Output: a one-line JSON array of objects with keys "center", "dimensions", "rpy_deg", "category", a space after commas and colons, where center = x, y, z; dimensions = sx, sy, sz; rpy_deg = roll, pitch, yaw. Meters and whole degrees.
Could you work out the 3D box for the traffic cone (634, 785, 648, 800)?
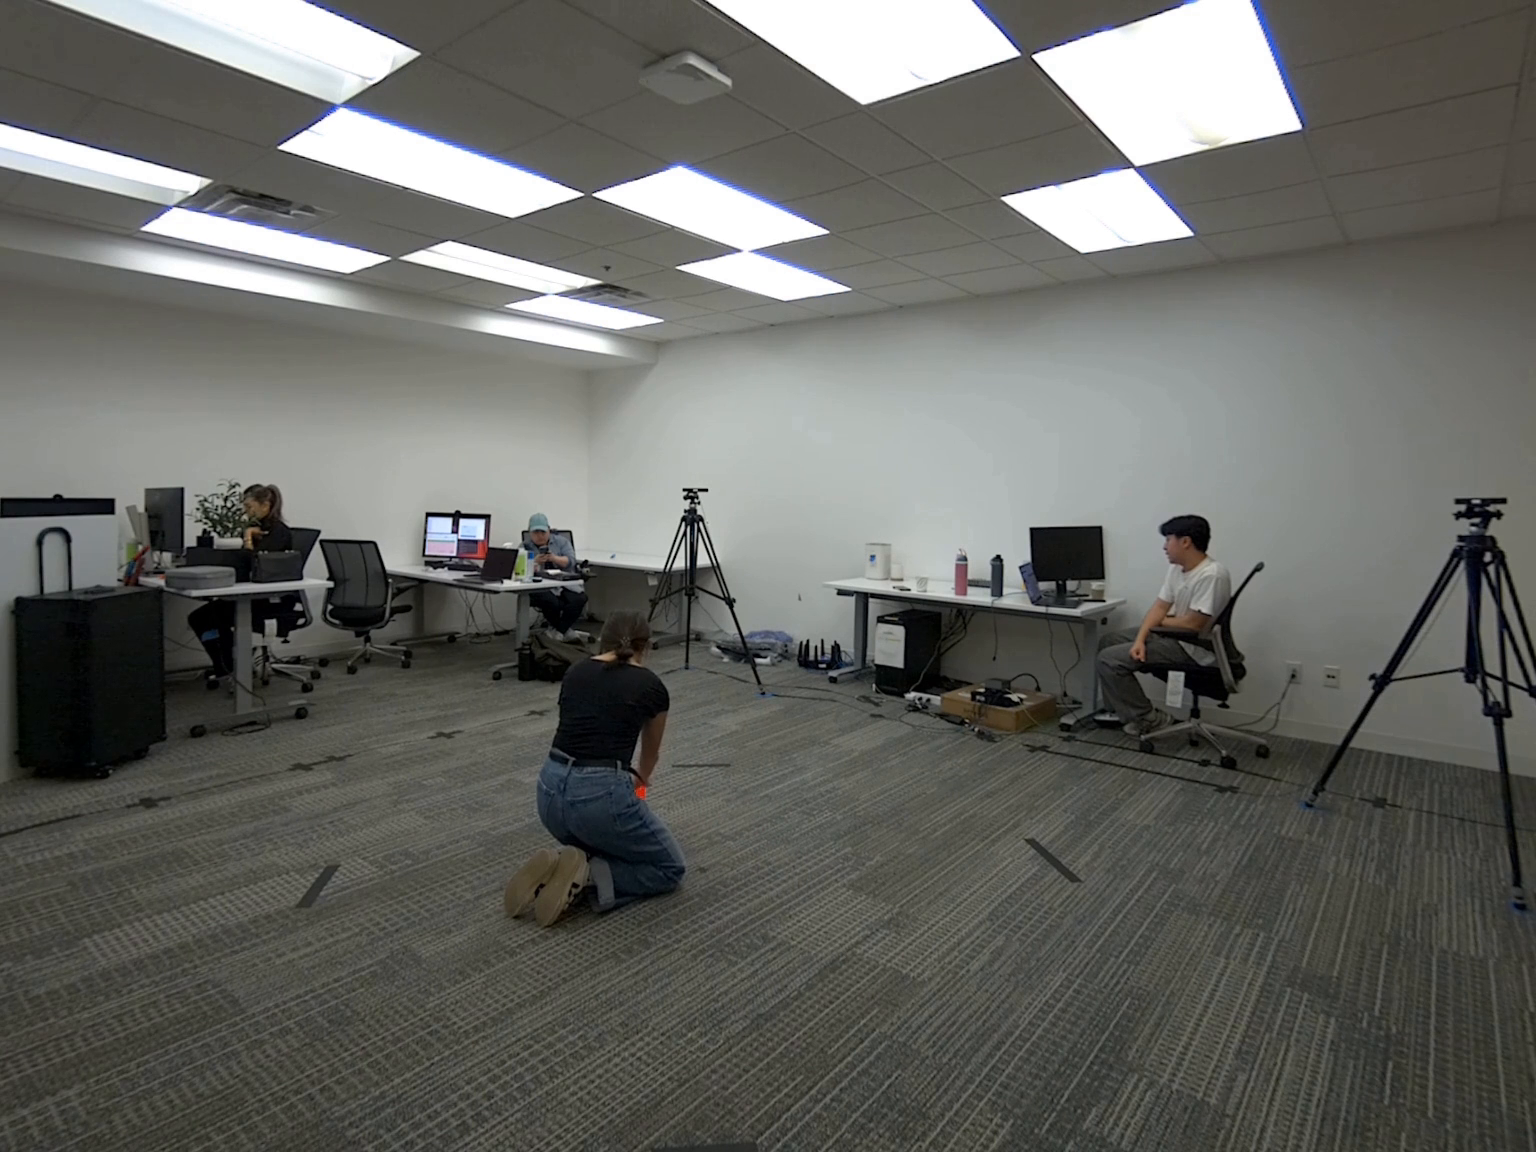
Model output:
[{"center": [-0.518, 0.986, 3.282], "dimensions": [0.199, 0.202, 0.396], "rpy_deg": [4, 18, -19], "category": "traffic cone"}]
